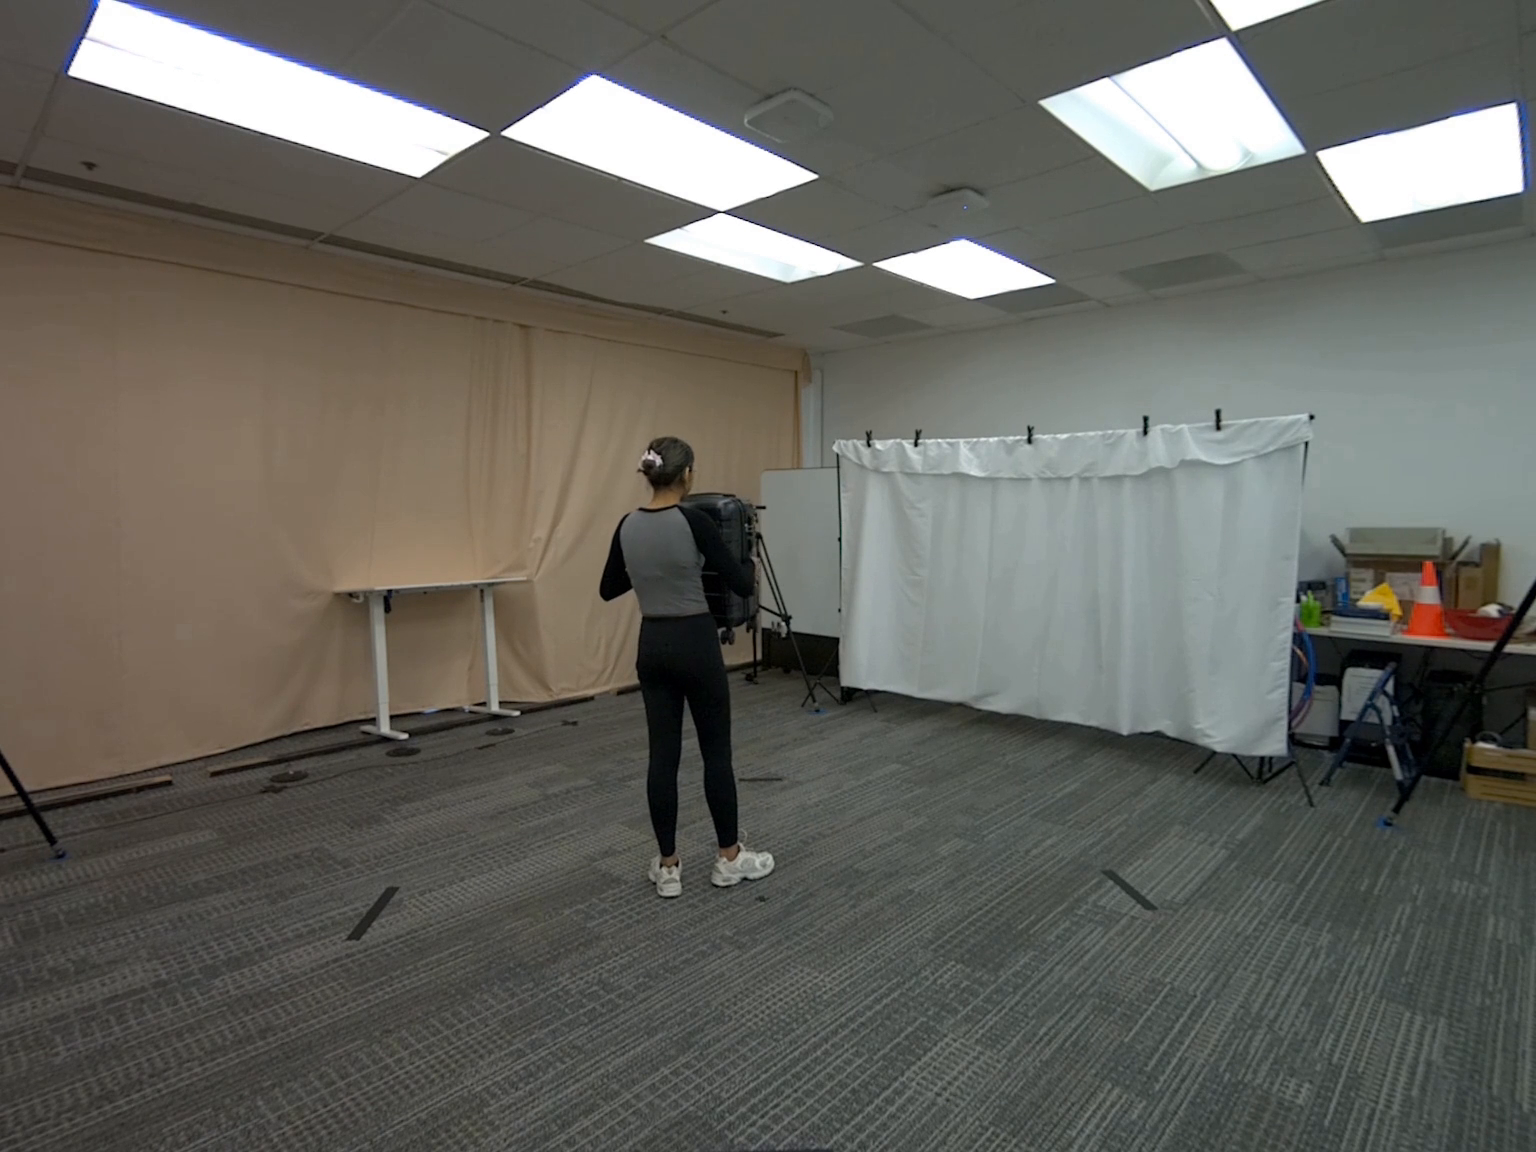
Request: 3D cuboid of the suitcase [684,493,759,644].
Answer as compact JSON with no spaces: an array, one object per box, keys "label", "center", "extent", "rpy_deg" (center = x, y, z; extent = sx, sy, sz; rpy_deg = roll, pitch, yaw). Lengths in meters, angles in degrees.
[{"label":"suitcase","center":[-0.236,-0.047,3.293],"extent":[0.386,0.547,0.242],"rpy_deg":[4,8,28]}]
